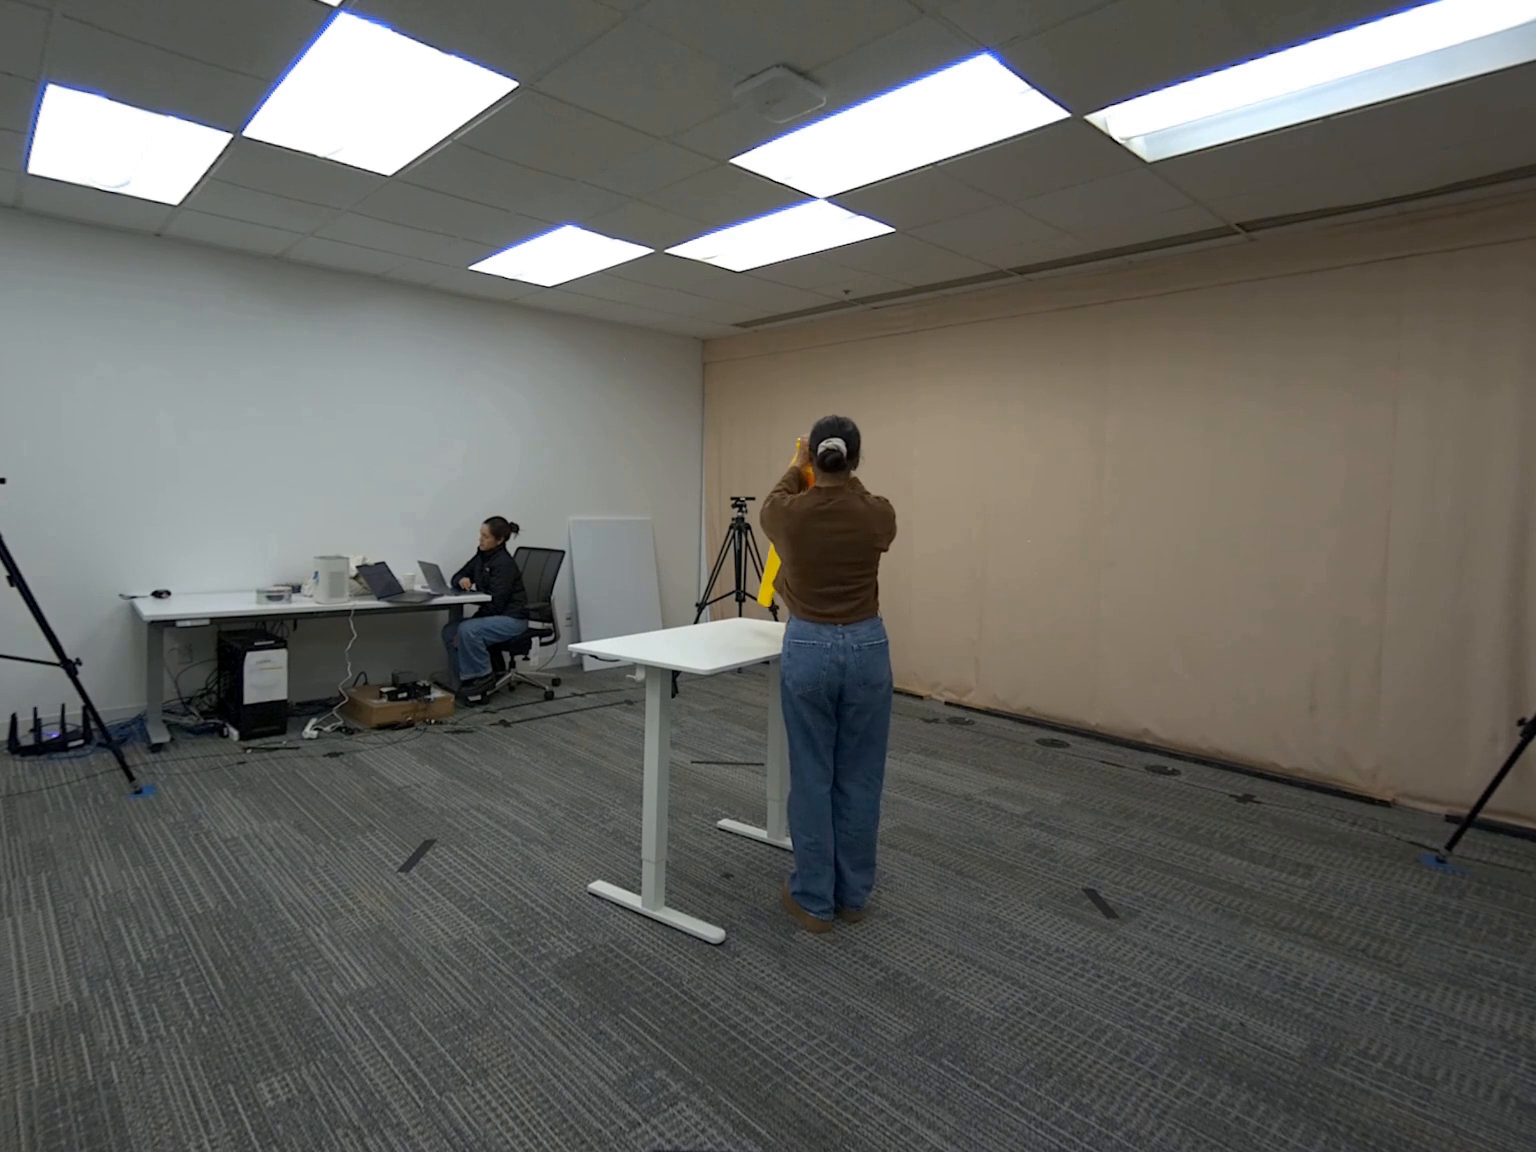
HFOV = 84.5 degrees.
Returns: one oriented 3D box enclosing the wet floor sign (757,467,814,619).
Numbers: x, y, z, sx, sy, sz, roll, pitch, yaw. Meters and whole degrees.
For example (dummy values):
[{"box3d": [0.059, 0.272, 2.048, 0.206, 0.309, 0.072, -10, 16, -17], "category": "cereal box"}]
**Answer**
[{"box3d": [0.167, -0.183, 3.177, 0.284, 0.639, 0.290, -8, 18, -34], "category": "wet floor sign"}]
